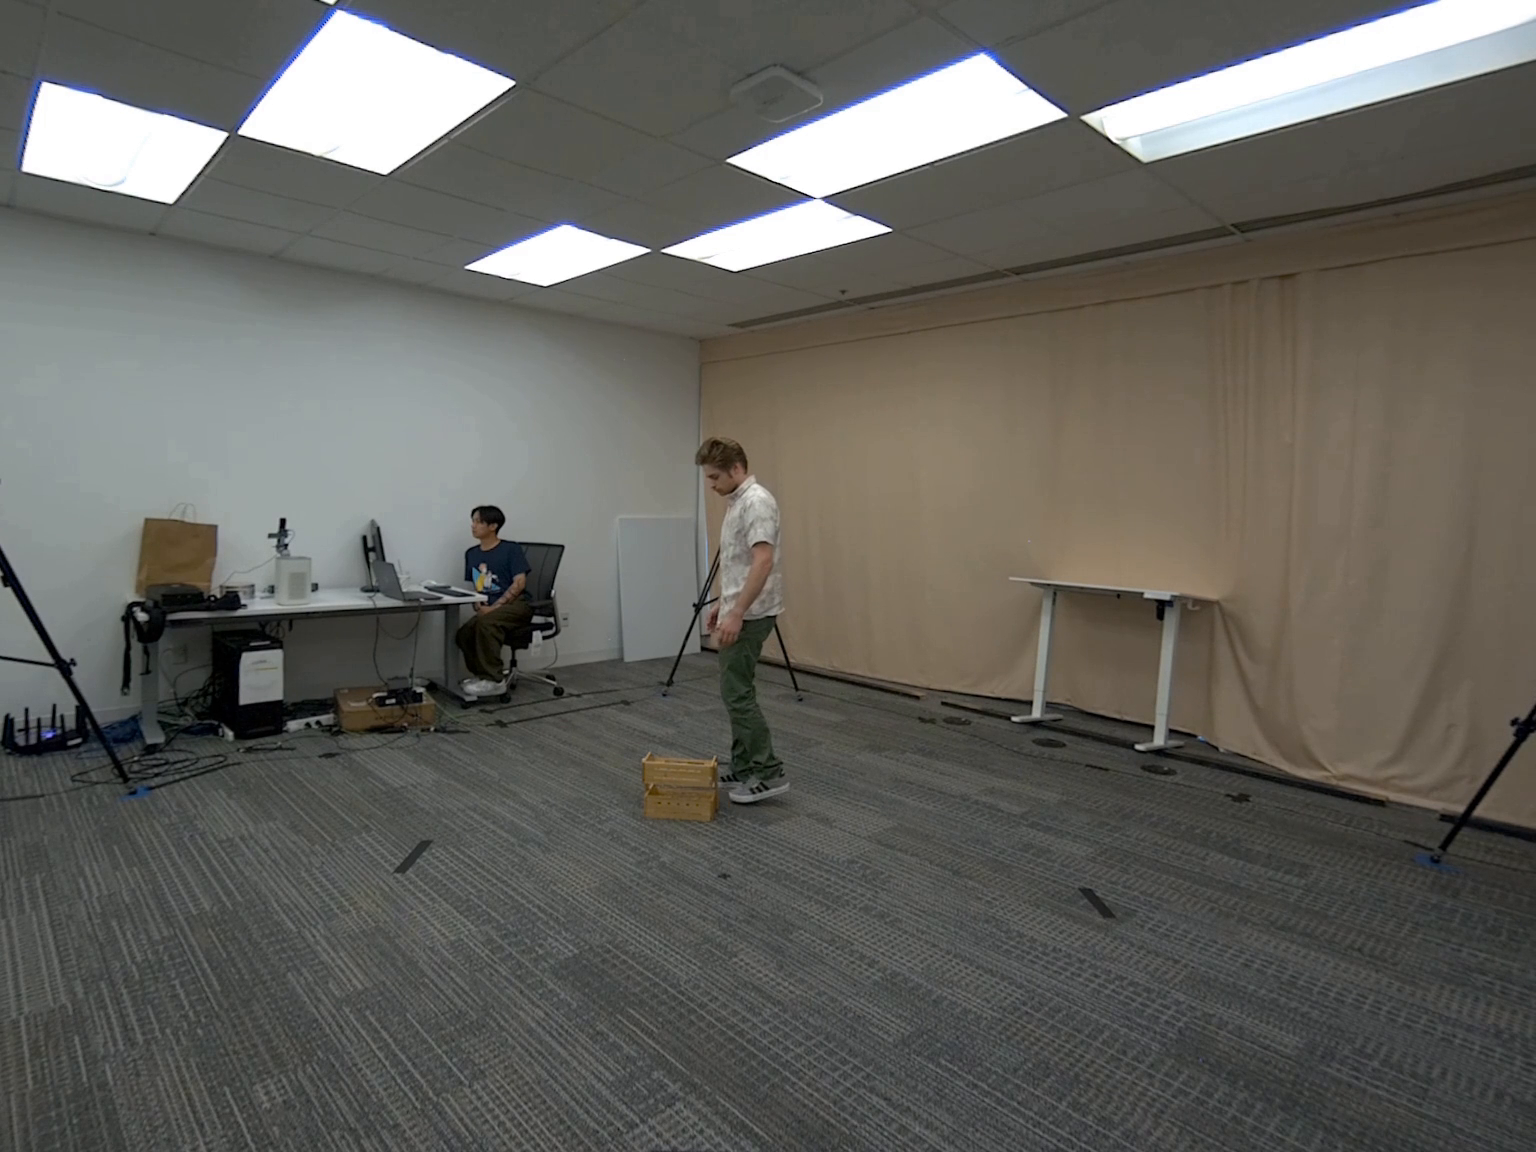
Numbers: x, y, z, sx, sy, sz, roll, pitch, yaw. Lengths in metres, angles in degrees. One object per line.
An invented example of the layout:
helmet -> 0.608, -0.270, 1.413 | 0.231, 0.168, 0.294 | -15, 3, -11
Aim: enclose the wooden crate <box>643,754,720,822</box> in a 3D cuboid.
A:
wooden crate -> -0.392, 0.915, 3.748 | 0.326, 0.273, 0.301 | 2, 4, 4
